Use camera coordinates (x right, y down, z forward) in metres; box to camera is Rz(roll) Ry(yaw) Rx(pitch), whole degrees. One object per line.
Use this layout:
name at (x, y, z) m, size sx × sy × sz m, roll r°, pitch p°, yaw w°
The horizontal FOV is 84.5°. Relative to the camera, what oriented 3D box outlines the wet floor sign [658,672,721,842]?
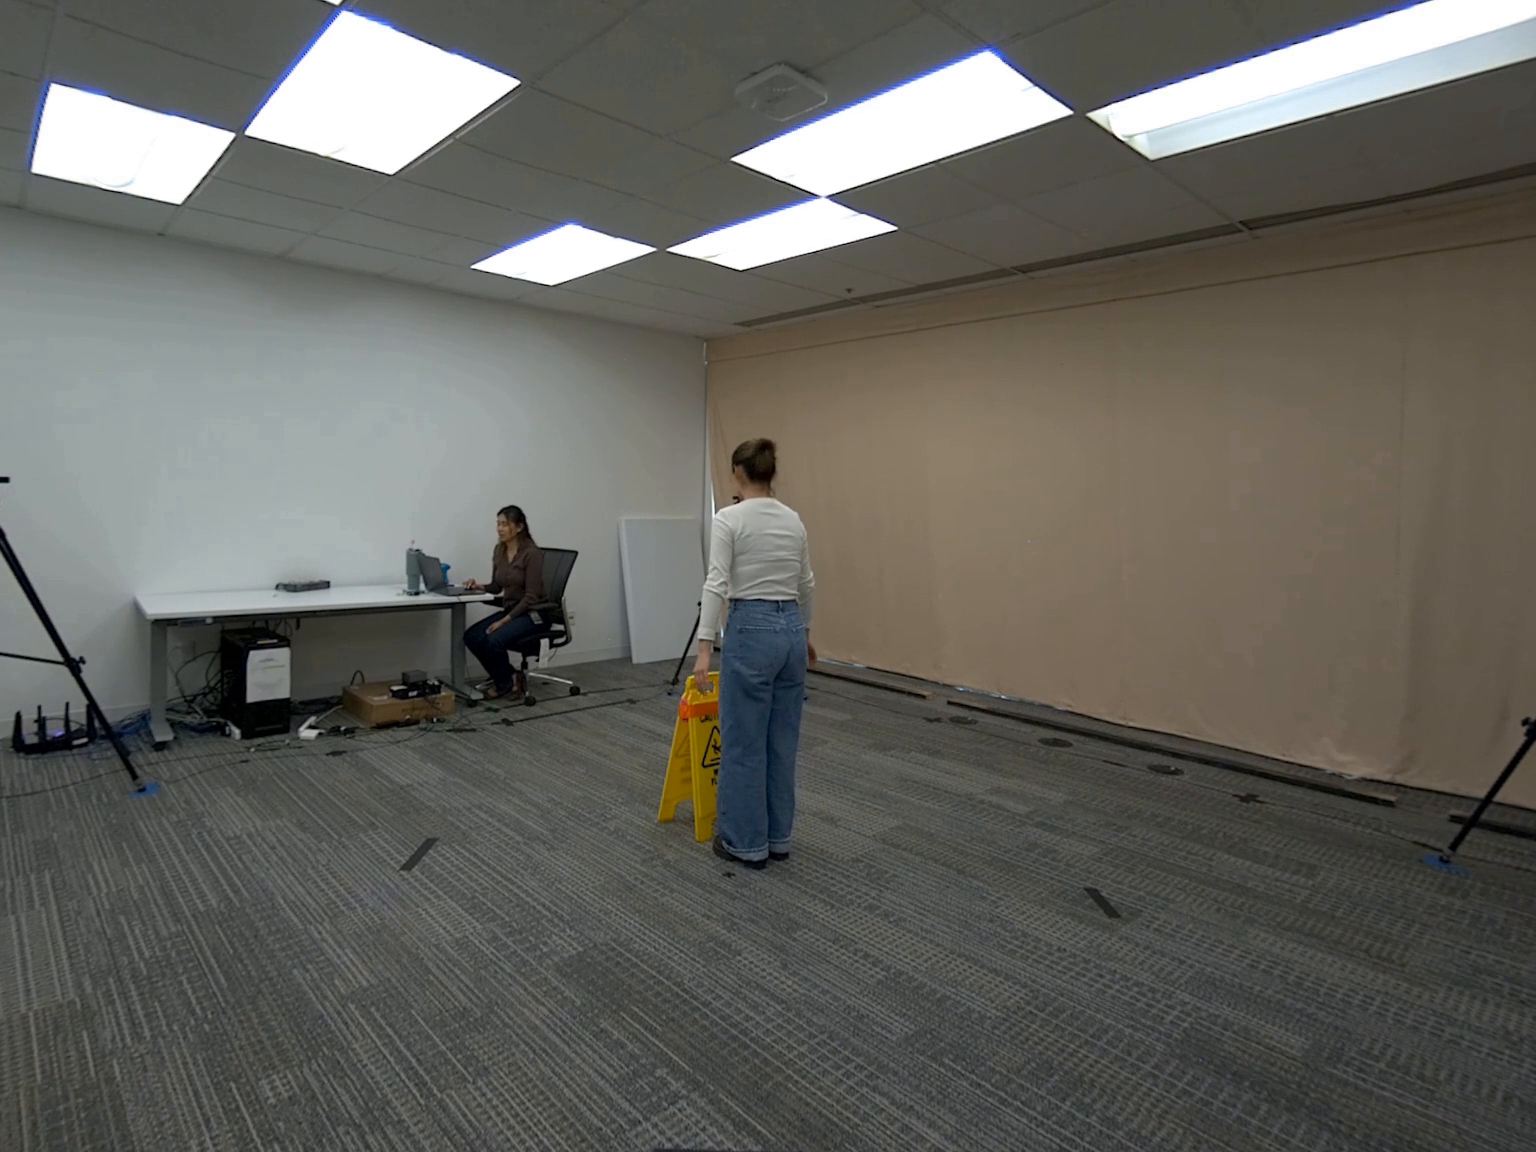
wet floor sign at (-0.278, 0.735, 3.566) m, size 0.275 × 0.645 × 0.297 m, roll 0°, pitch 2°, yaw -42°
